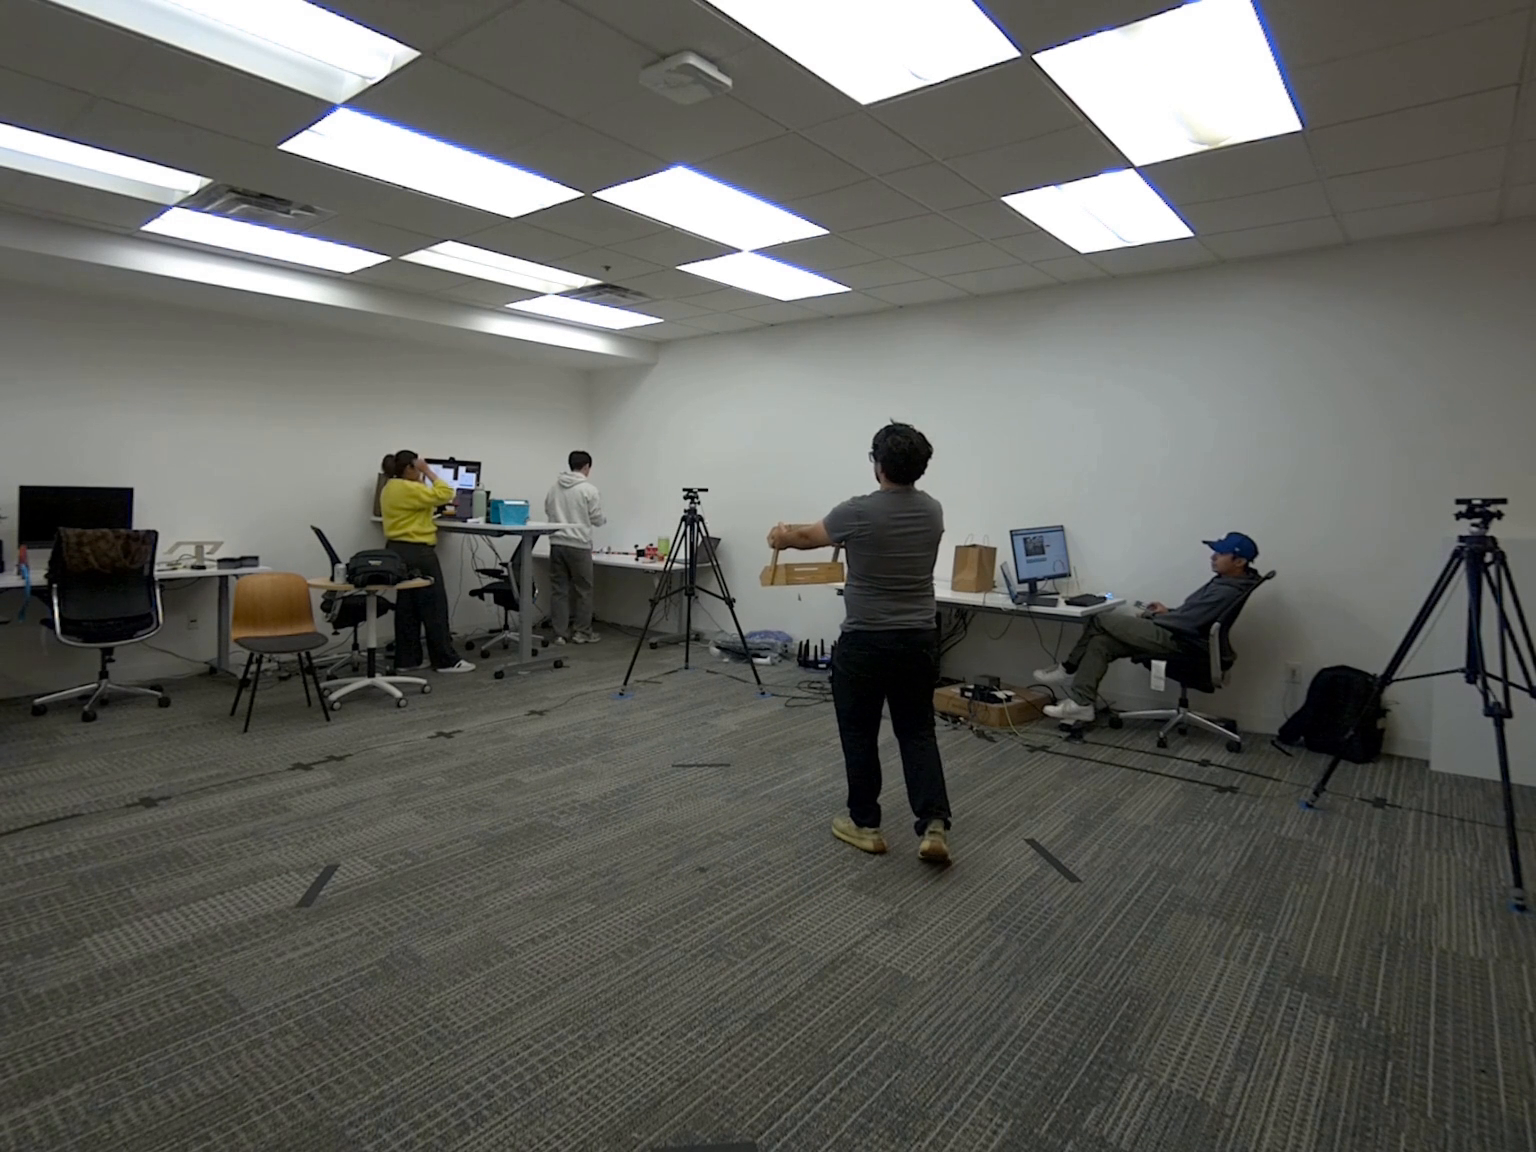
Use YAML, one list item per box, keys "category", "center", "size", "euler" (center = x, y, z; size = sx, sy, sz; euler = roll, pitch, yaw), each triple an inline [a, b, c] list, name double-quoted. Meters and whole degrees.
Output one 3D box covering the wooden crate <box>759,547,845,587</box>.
- category: "wooden crate"
  center: [0.151, -0.099, 3.860]
  size: [0.317, 0.274, 0.308]
  euler: [-1, -2, -25]
